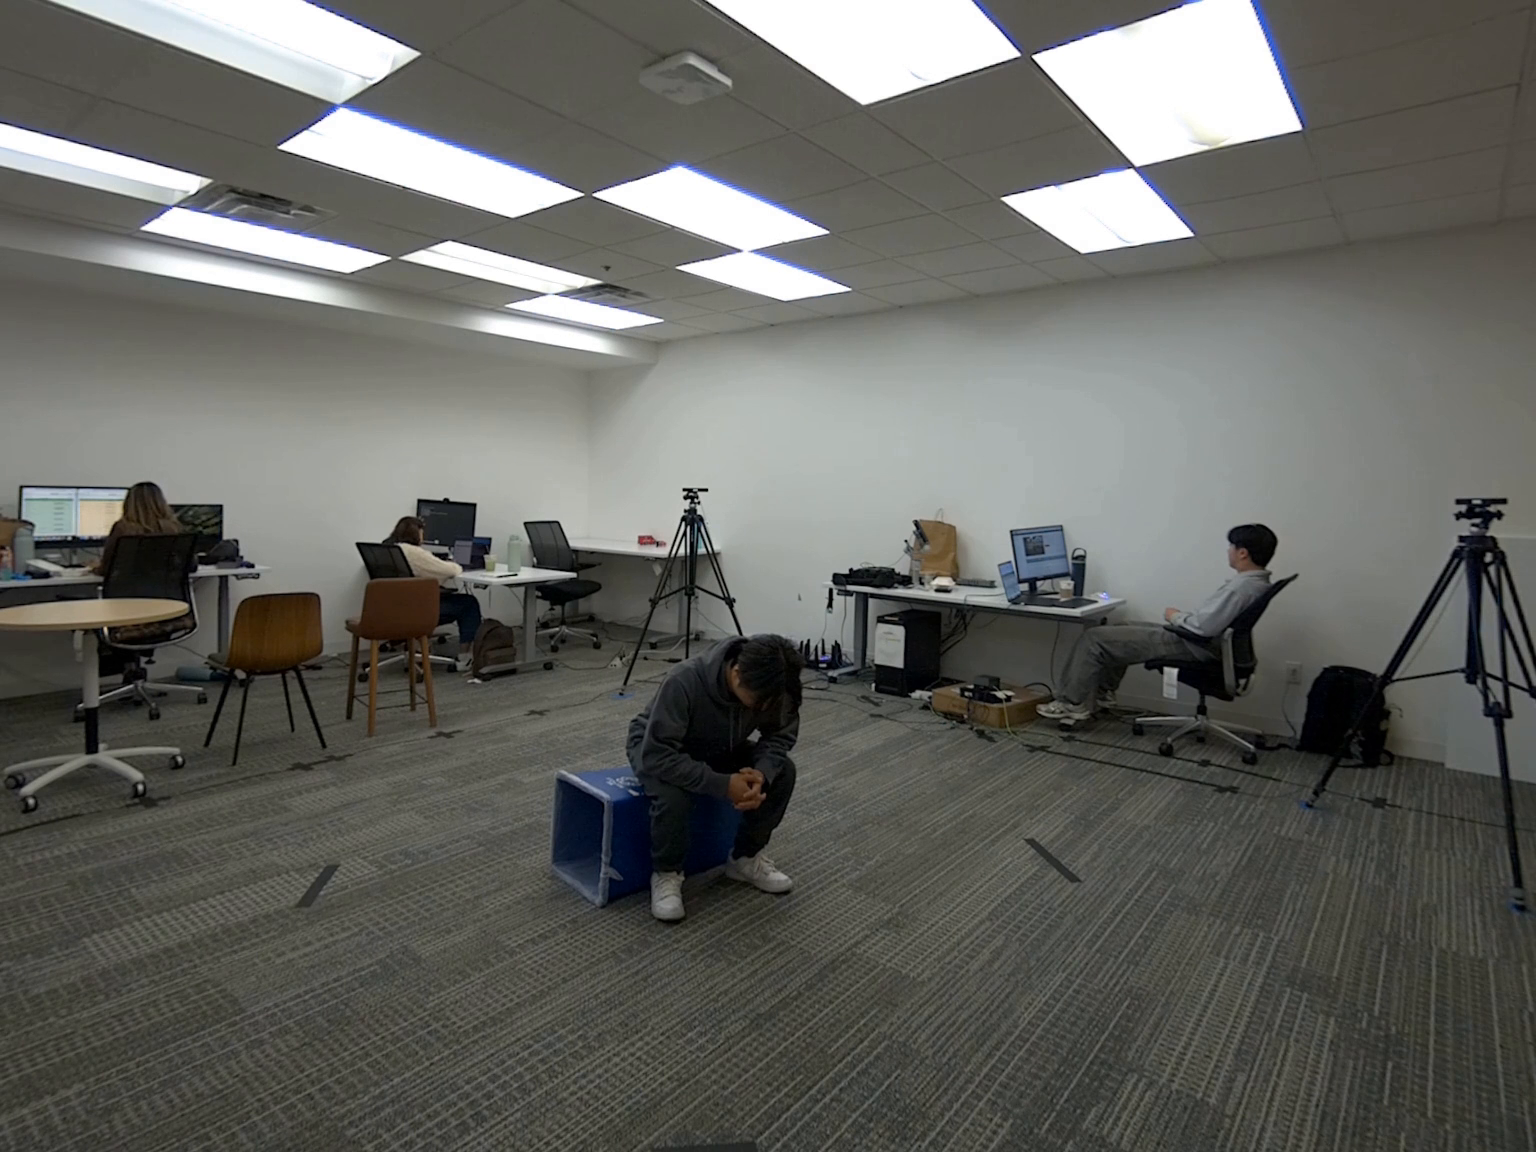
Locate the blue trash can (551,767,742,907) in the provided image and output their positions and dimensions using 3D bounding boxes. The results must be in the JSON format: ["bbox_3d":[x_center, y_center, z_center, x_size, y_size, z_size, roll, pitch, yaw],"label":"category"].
[{"bbox_3d":[-0.412,0.894,3.155,0.690,0.378,0.387,1,3,-41],"label":"blue trash can"}]
